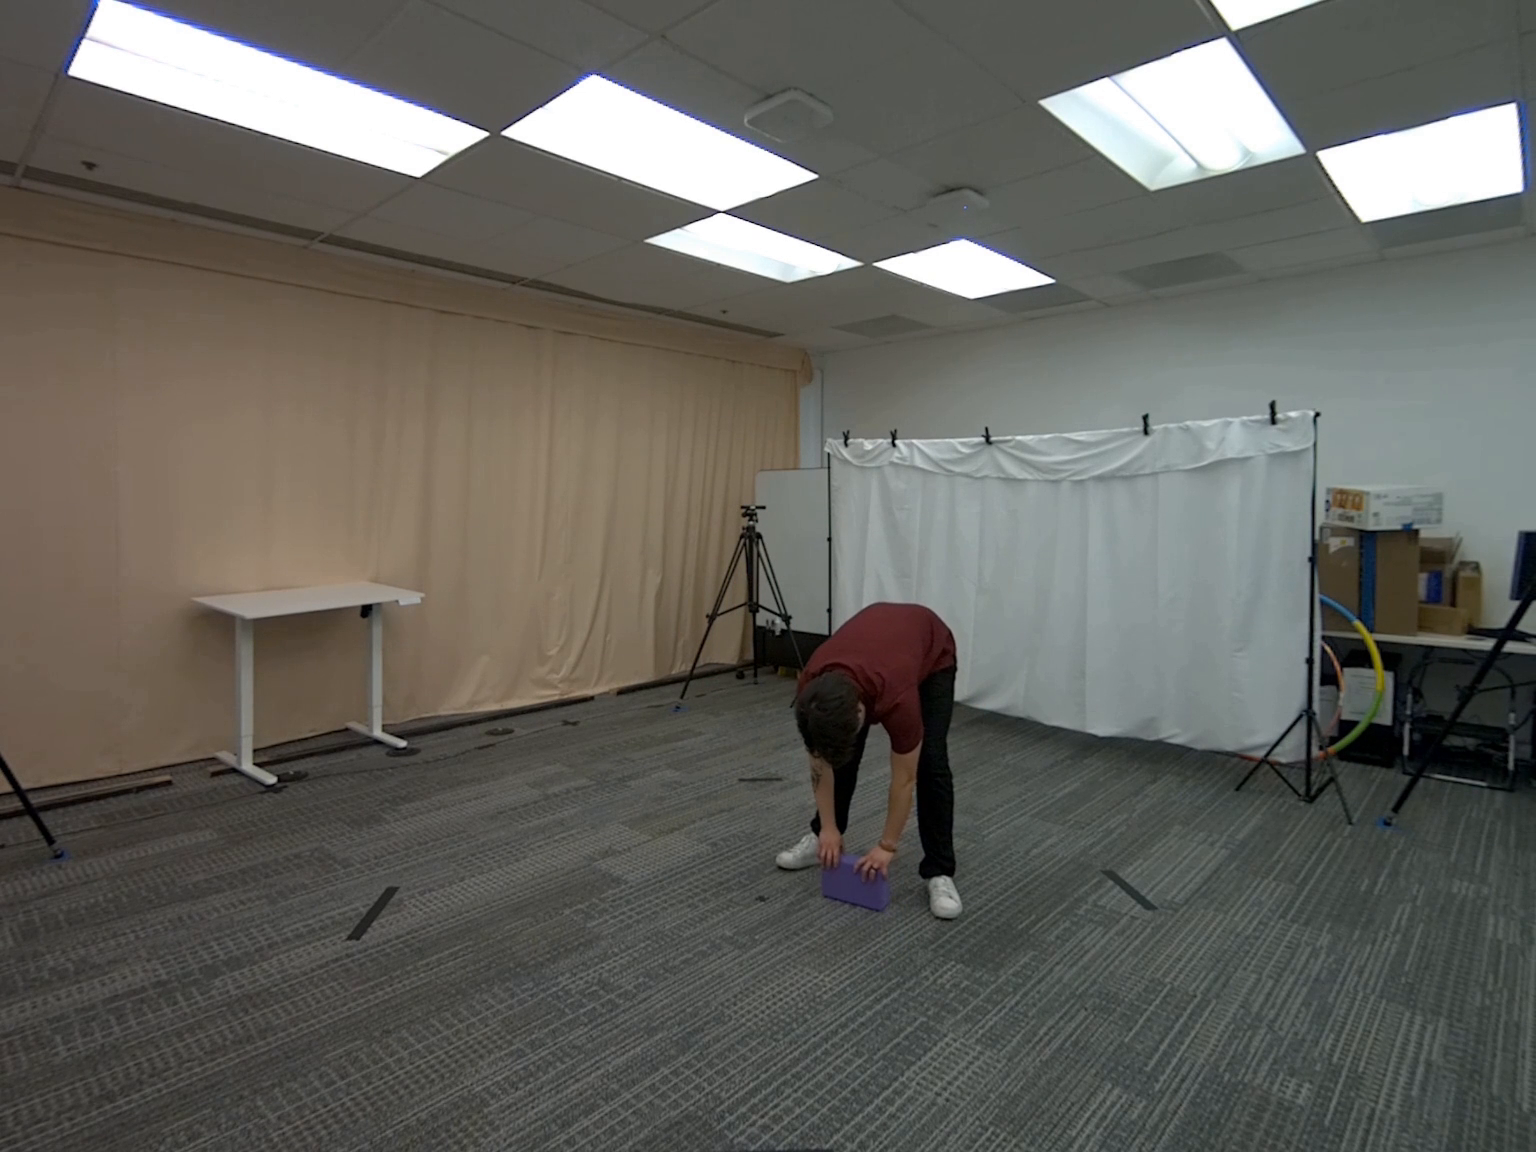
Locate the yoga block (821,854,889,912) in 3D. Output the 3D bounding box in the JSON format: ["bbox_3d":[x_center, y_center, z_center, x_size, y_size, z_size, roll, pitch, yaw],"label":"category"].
[{"bbox_3d":[0.317,1.069,2.969,0.236,0.149,0.074,4,0,30],"label":"yoga block"}]
